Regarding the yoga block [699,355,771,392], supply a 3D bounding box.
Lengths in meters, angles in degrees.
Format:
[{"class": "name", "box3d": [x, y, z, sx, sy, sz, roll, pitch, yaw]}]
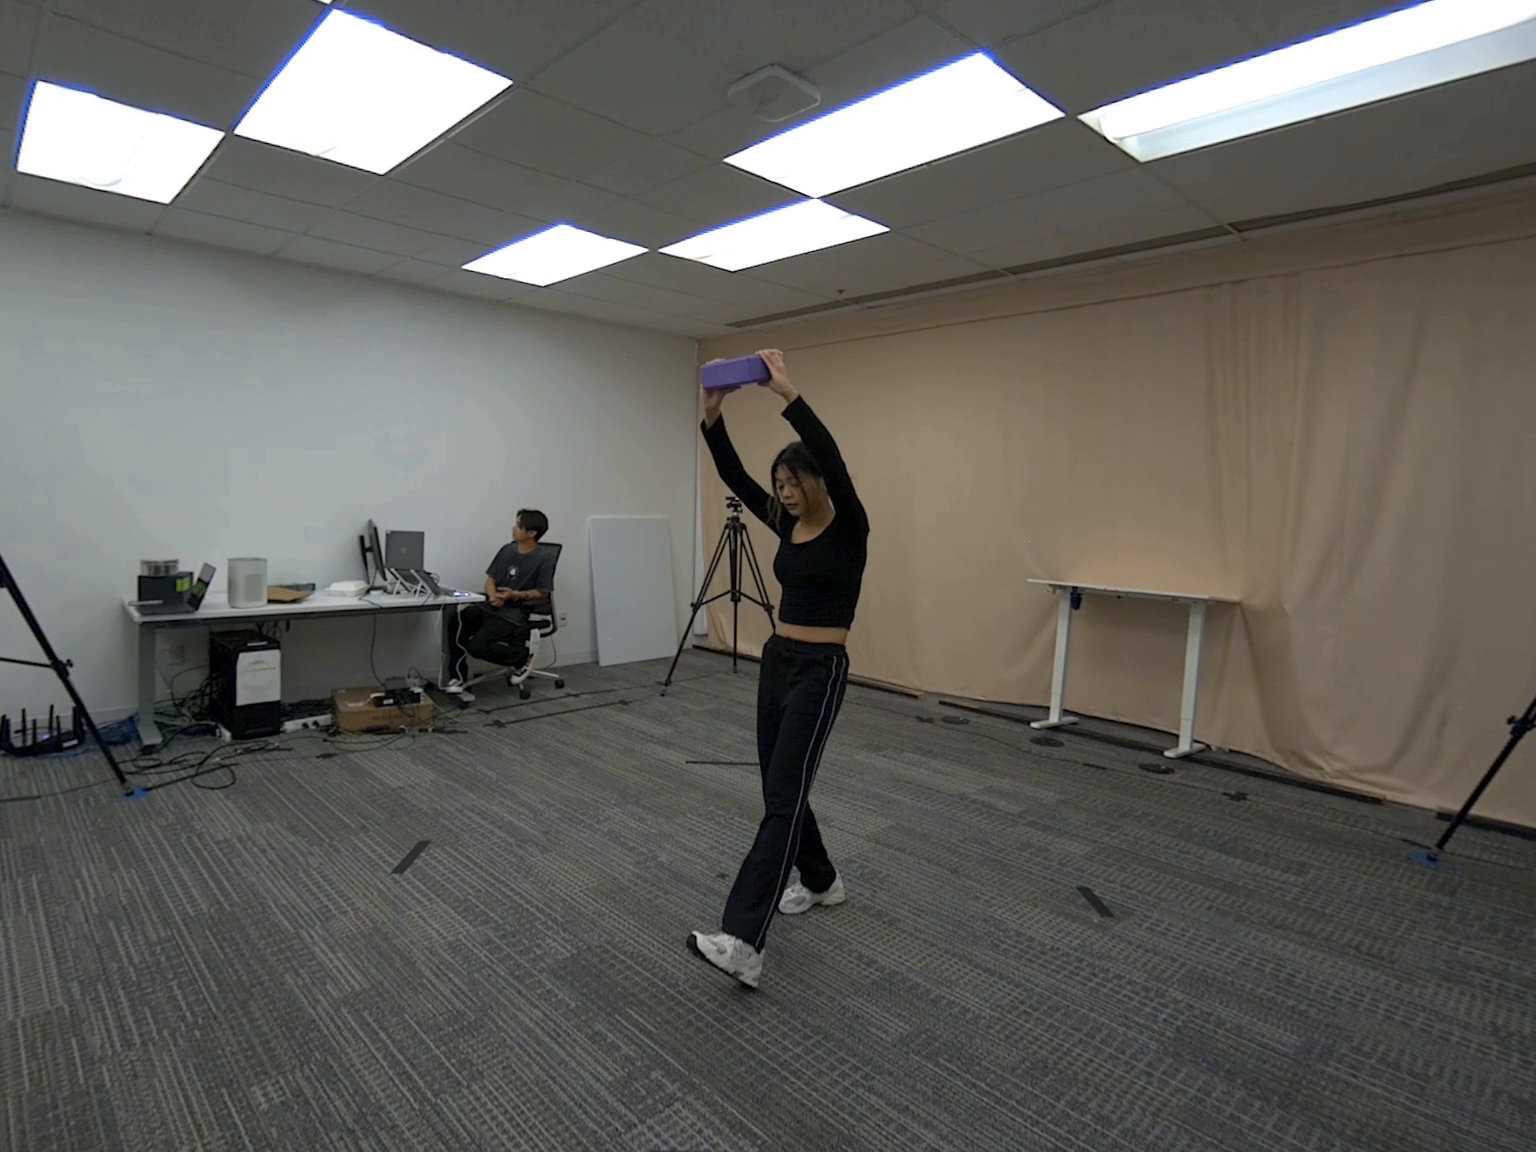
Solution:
[{"class": "yoga block", "box3d": [-0.079, -0.609, 2.482, 0.147, 0.076, 0.235, -19, 16, -41]}]
